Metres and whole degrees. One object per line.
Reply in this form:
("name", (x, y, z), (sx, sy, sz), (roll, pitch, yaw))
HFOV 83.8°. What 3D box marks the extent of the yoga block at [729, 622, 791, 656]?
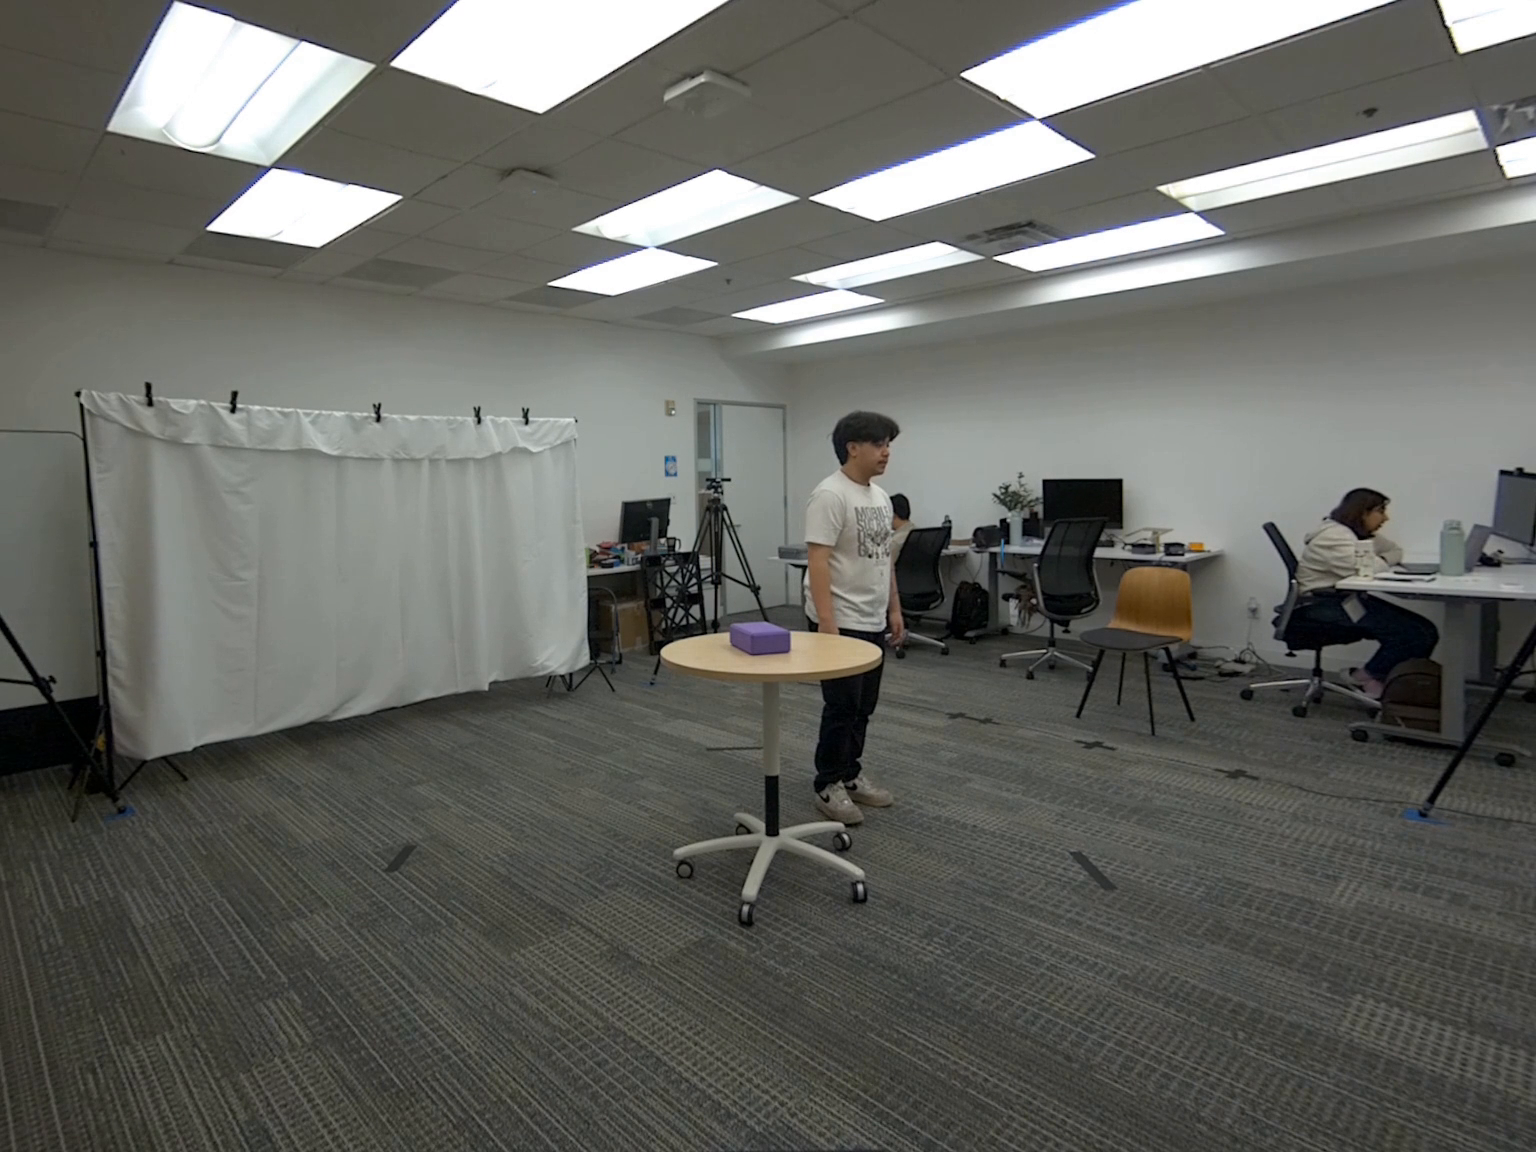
("yoga block", (-0.024, 0.218, 2.993), (0.146, 0.076, 0.234), (-2, 6, -20))
